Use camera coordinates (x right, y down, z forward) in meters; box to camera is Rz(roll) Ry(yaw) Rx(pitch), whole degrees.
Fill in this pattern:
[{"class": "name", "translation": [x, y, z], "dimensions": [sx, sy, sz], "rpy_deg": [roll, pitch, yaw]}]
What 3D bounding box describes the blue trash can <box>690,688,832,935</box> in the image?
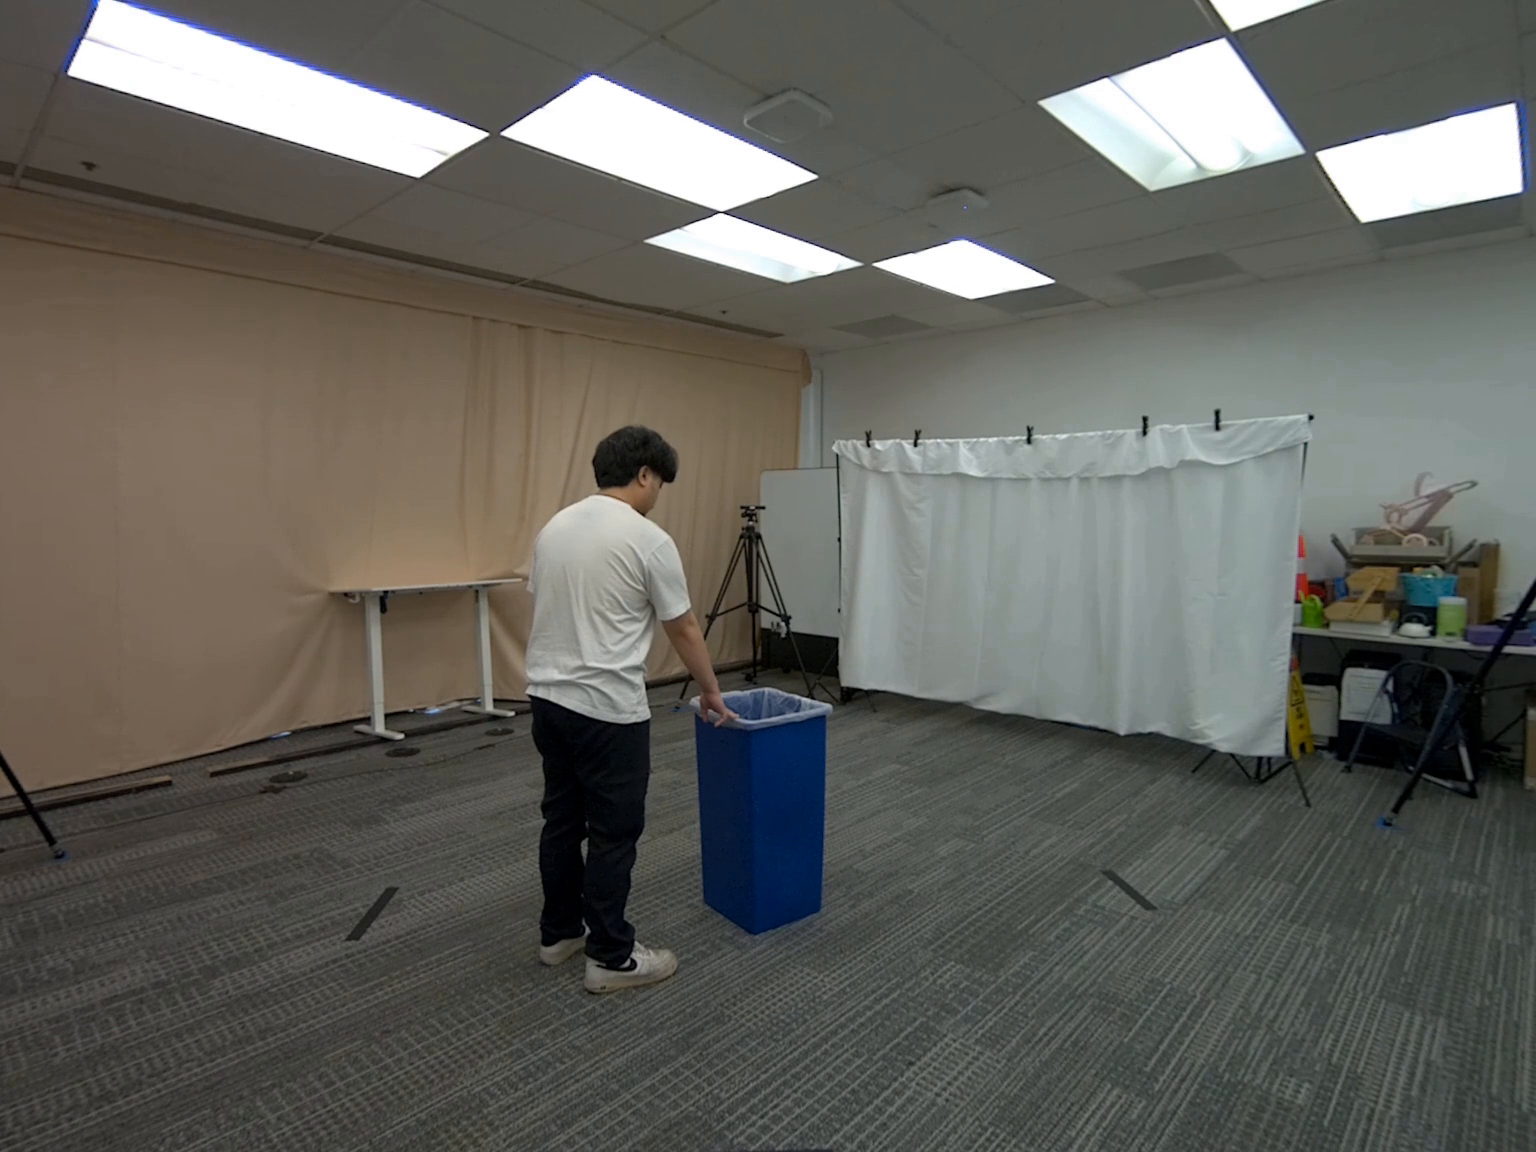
[{"class": "blue trash can", "translation": [-0.026, 0.793, 2.907], "dimensions": [0.363, 0.712, 0.390], "rpy_deg": [-2, 4, -37]}]
